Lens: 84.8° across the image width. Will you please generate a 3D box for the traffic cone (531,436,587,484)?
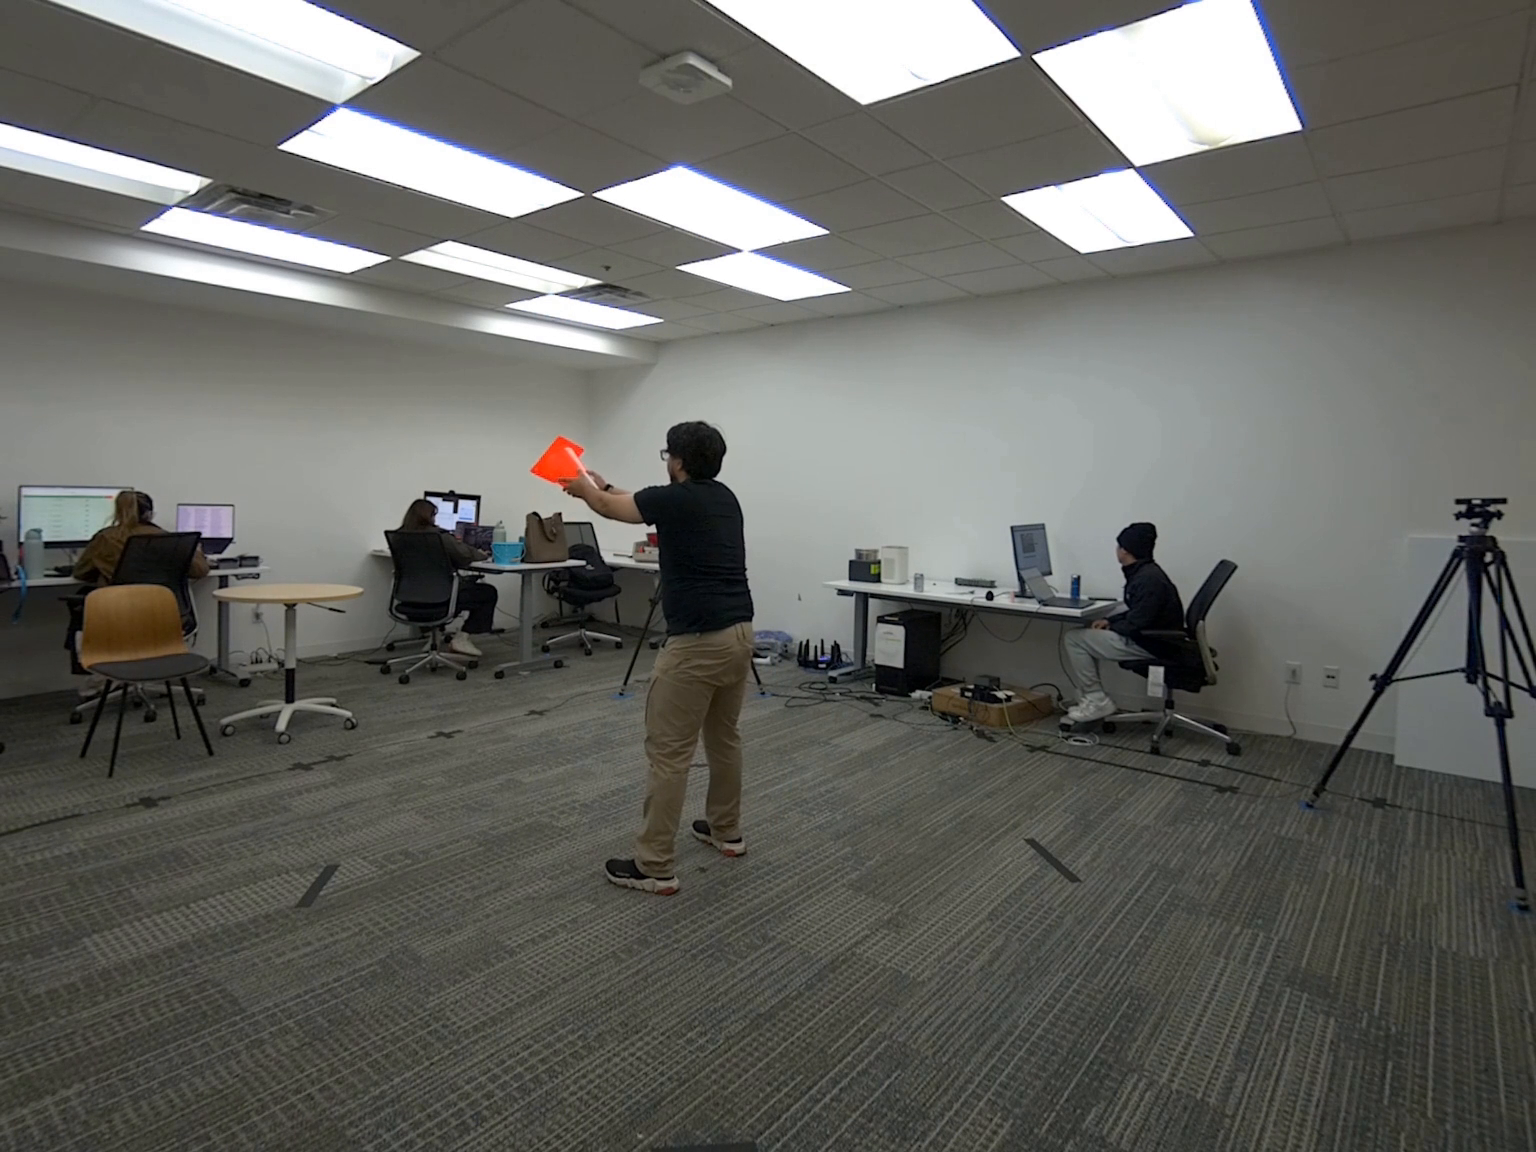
[{"bbox_3d":[-0.772,-0.357,3.484,0.397,0.203,0.198,43,6,25],"label":"traffic cone"}]
